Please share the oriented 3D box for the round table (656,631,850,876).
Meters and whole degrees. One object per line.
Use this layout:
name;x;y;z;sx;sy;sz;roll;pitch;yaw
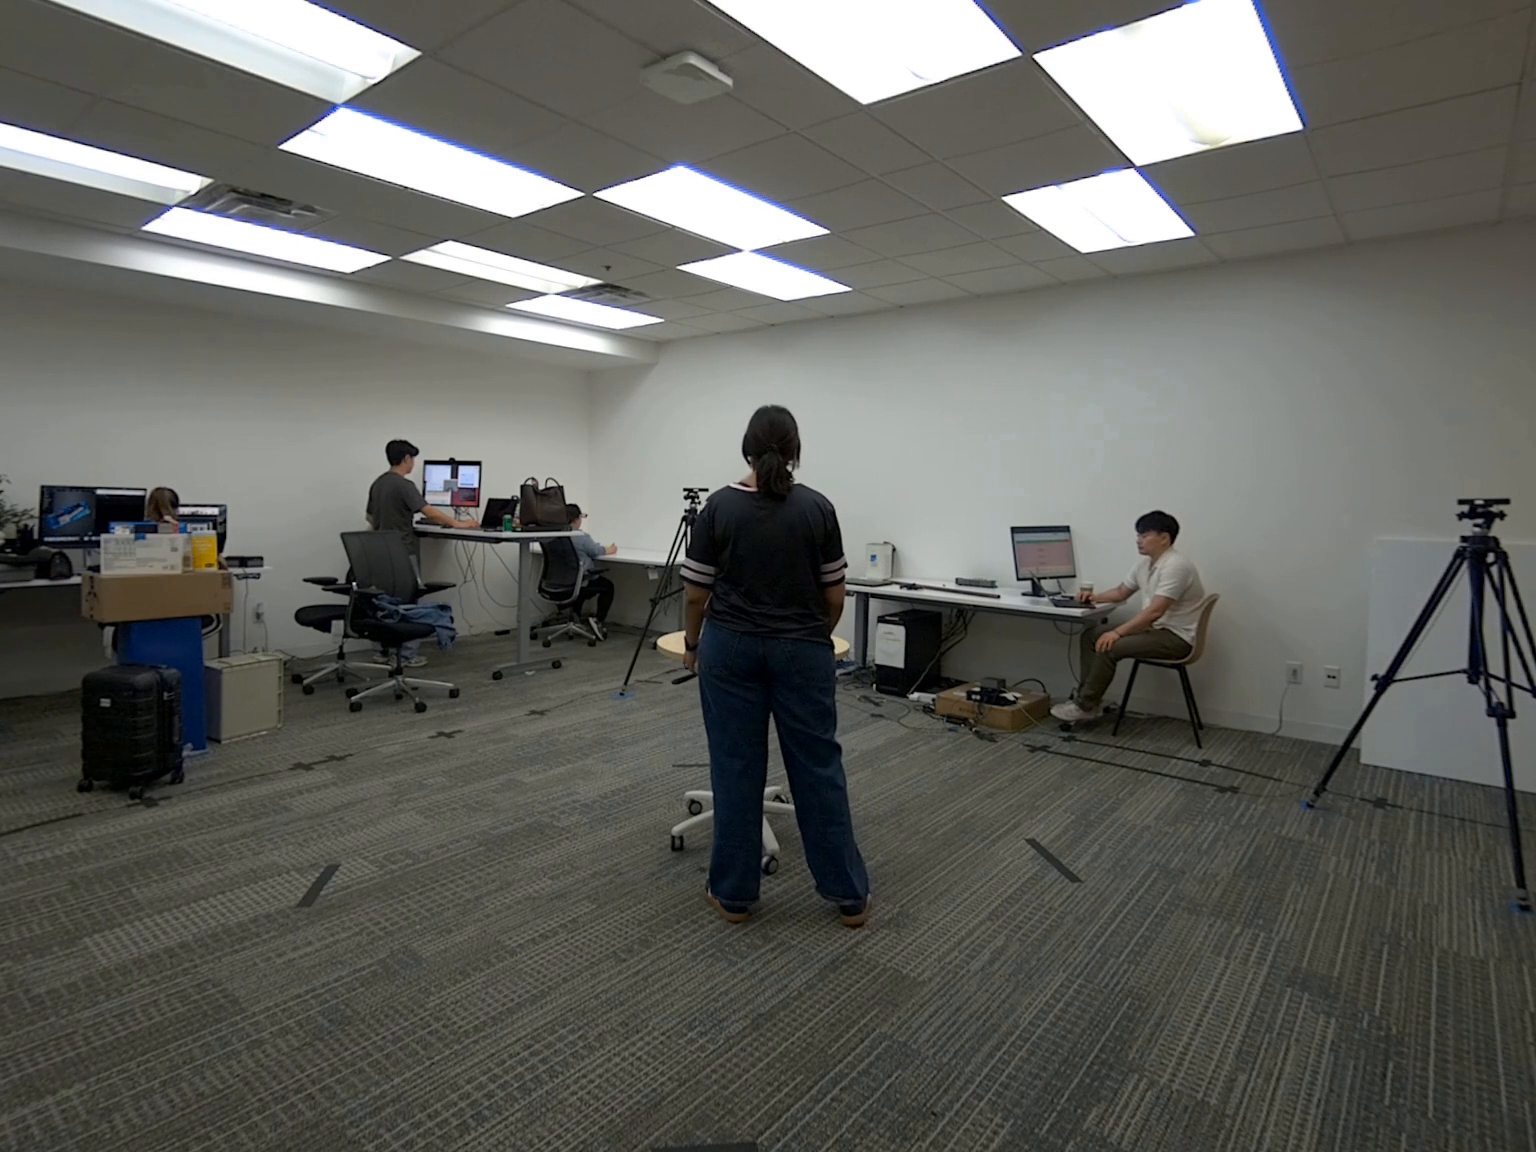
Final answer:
round table;-0.076;0.651;3.408;0.763;0.792;0.767;1;4;-2
